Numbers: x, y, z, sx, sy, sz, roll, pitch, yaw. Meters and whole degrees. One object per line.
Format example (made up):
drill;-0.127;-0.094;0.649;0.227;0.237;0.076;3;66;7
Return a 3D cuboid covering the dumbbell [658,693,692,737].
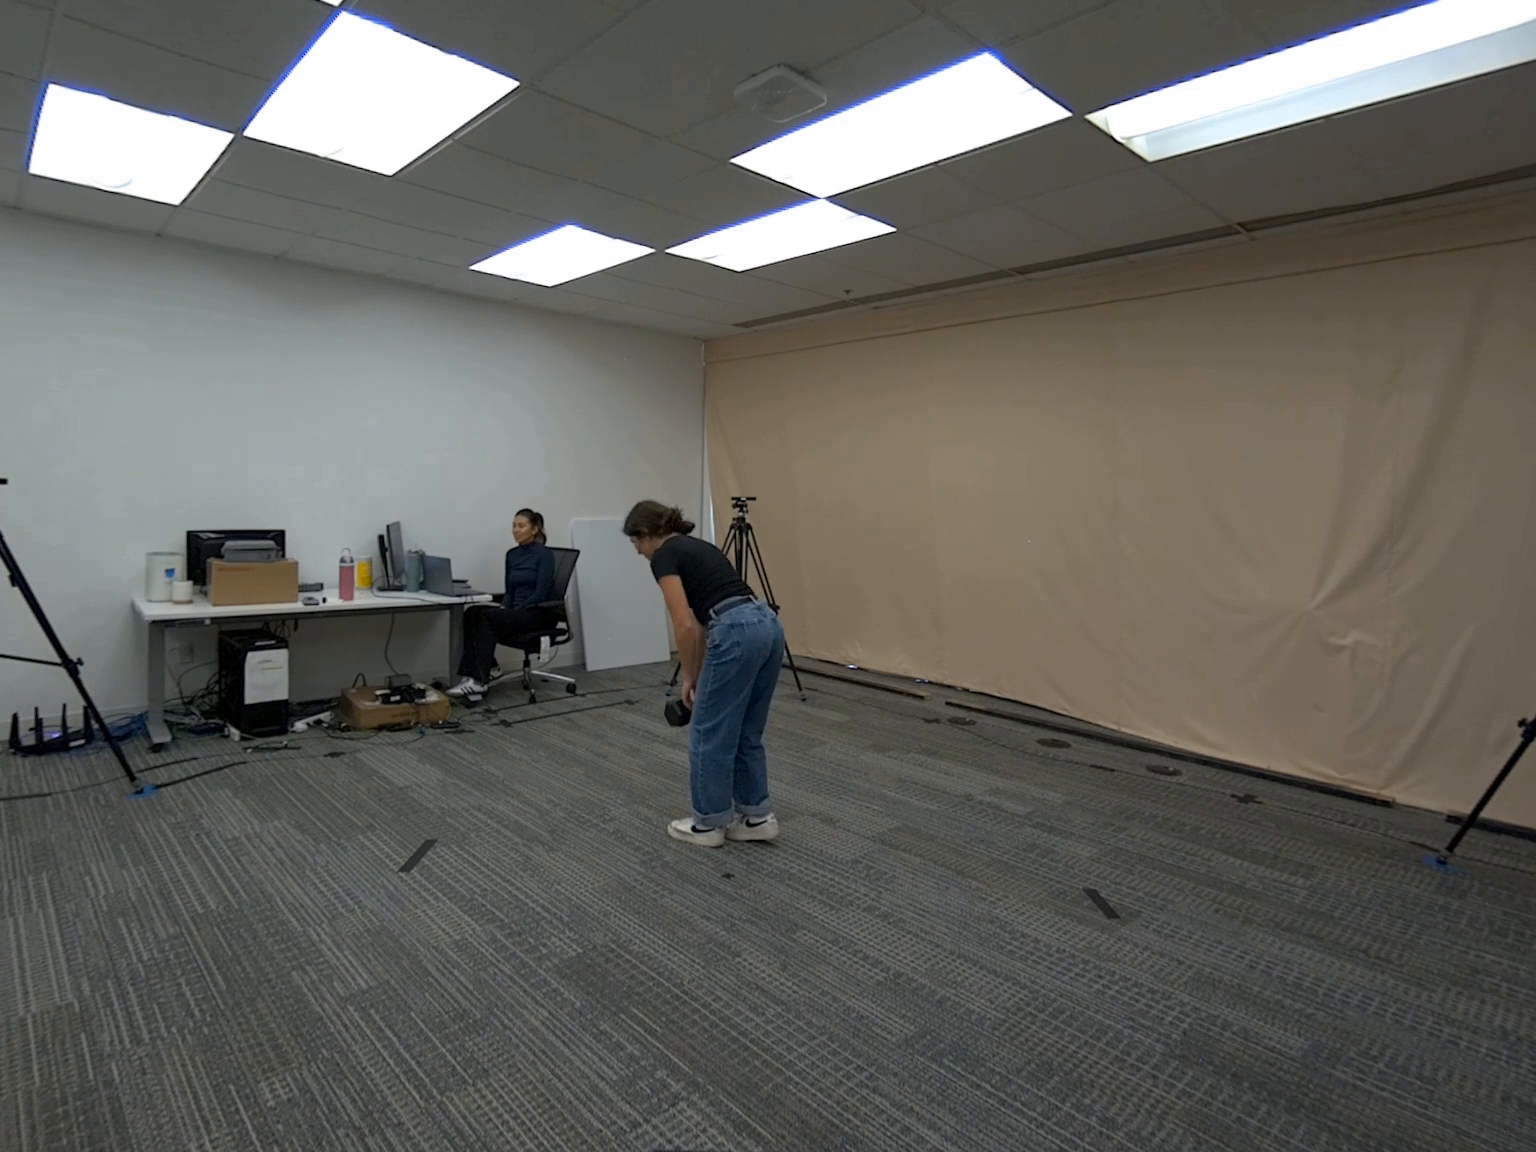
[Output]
dumbbell;-0.292;0.546;3.527;0.288;0.125;0.108;-12;-28;-45
